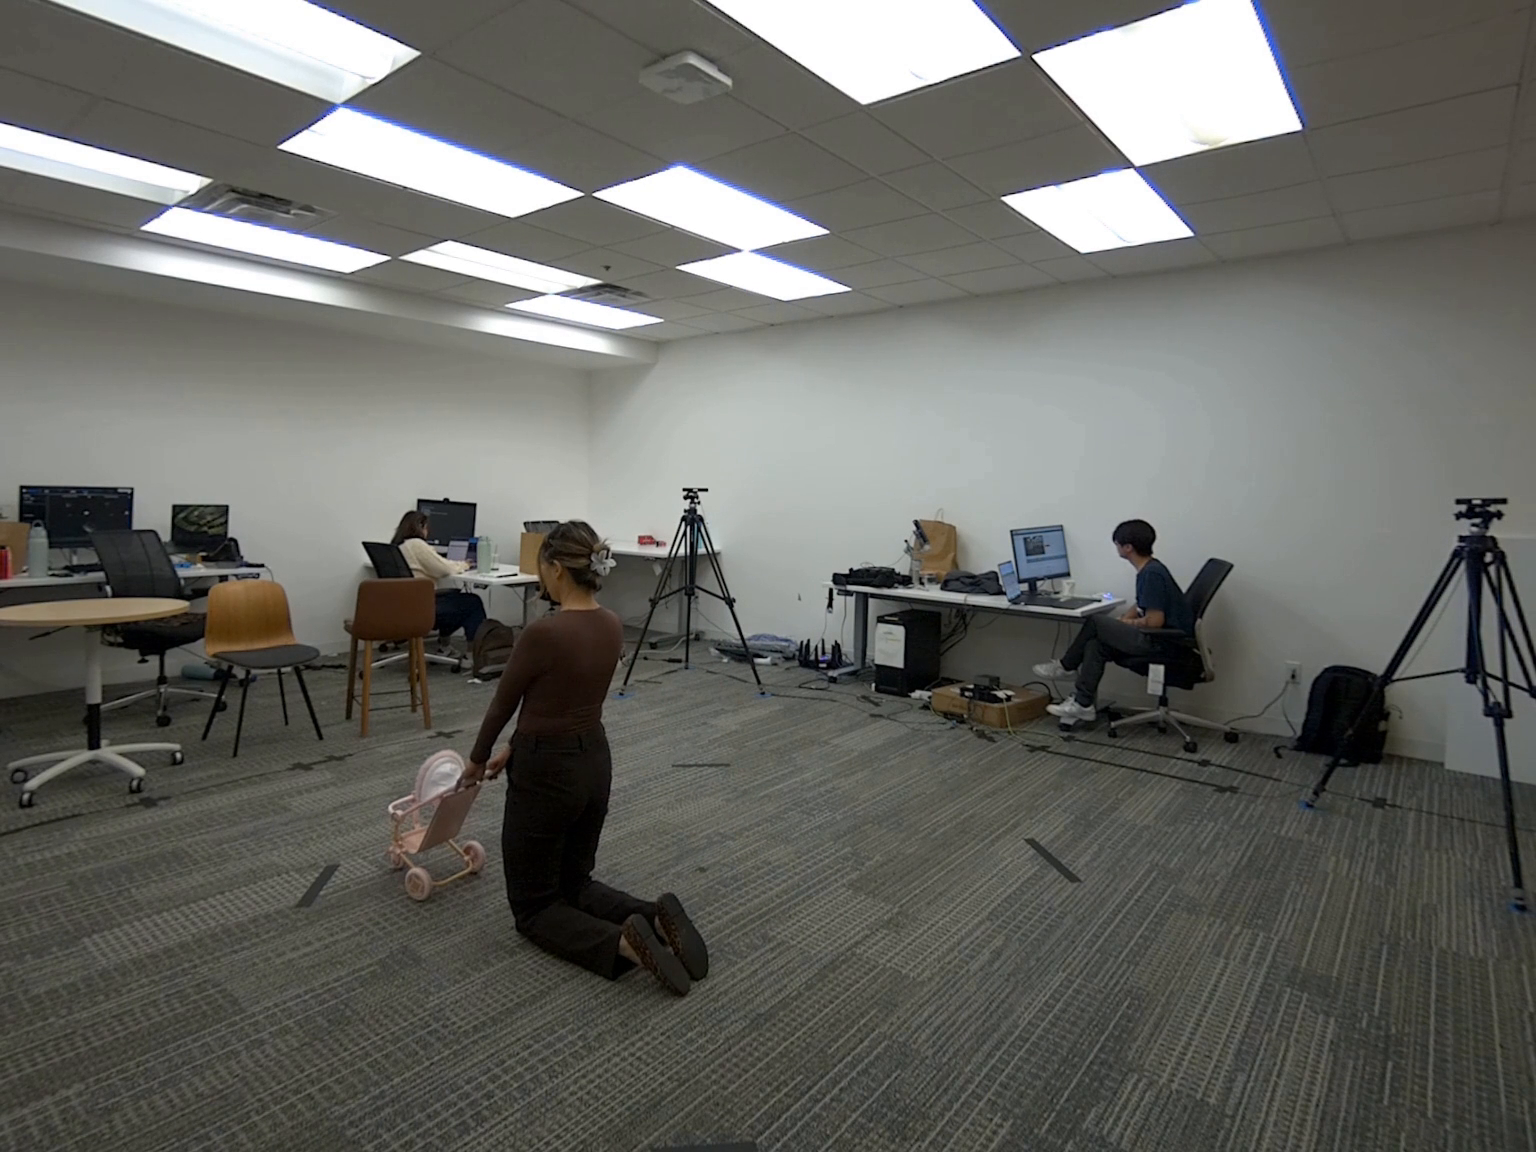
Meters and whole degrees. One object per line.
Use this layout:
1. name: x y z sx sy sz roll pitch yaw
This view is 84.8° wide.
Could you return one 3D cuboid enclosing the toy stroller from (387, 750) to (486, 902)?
1. toy stroller: -1.175 0.845 2.972 0.354 0.531 0.273 23 14 30
